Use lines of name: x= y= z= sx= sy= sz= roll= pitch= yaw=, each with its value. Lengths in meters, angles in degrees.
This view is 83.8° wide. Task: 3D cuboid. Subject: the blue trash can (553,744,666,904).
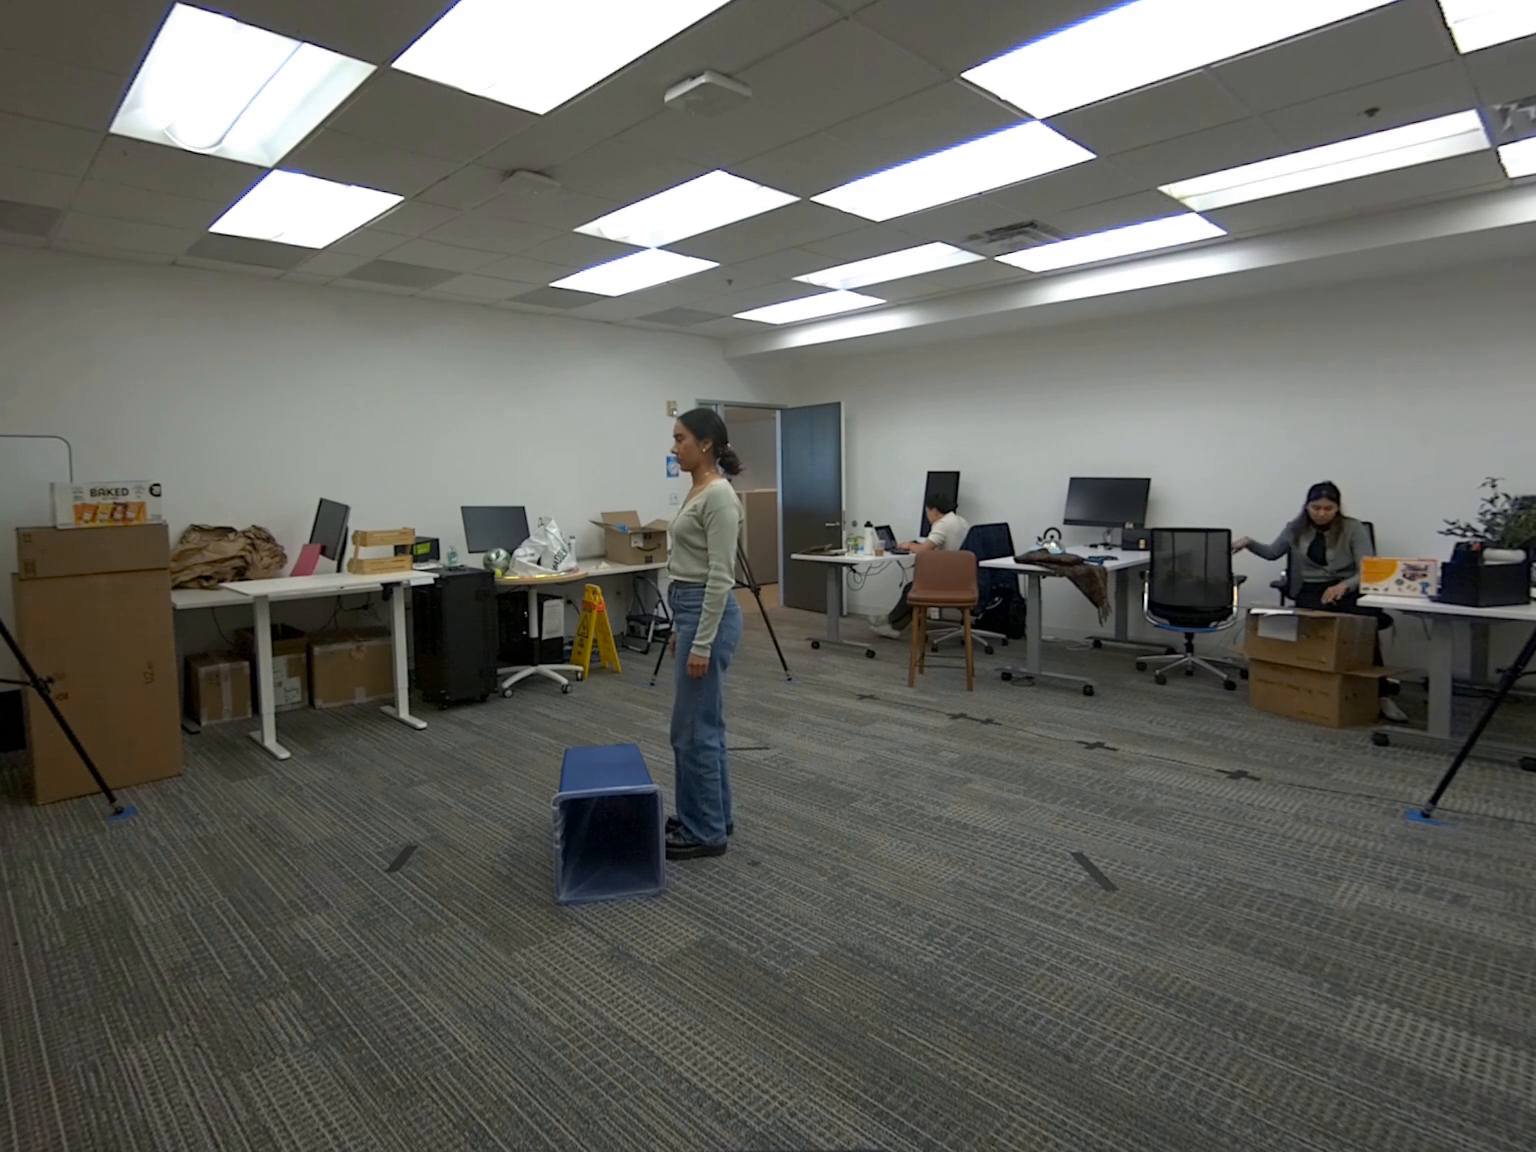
blue trash can: x=-0.600 y=0.866 z=3.188 sx=0.370 sy=0.377 sz=0.722 roll=-1 pitch=4 yaw=-11
